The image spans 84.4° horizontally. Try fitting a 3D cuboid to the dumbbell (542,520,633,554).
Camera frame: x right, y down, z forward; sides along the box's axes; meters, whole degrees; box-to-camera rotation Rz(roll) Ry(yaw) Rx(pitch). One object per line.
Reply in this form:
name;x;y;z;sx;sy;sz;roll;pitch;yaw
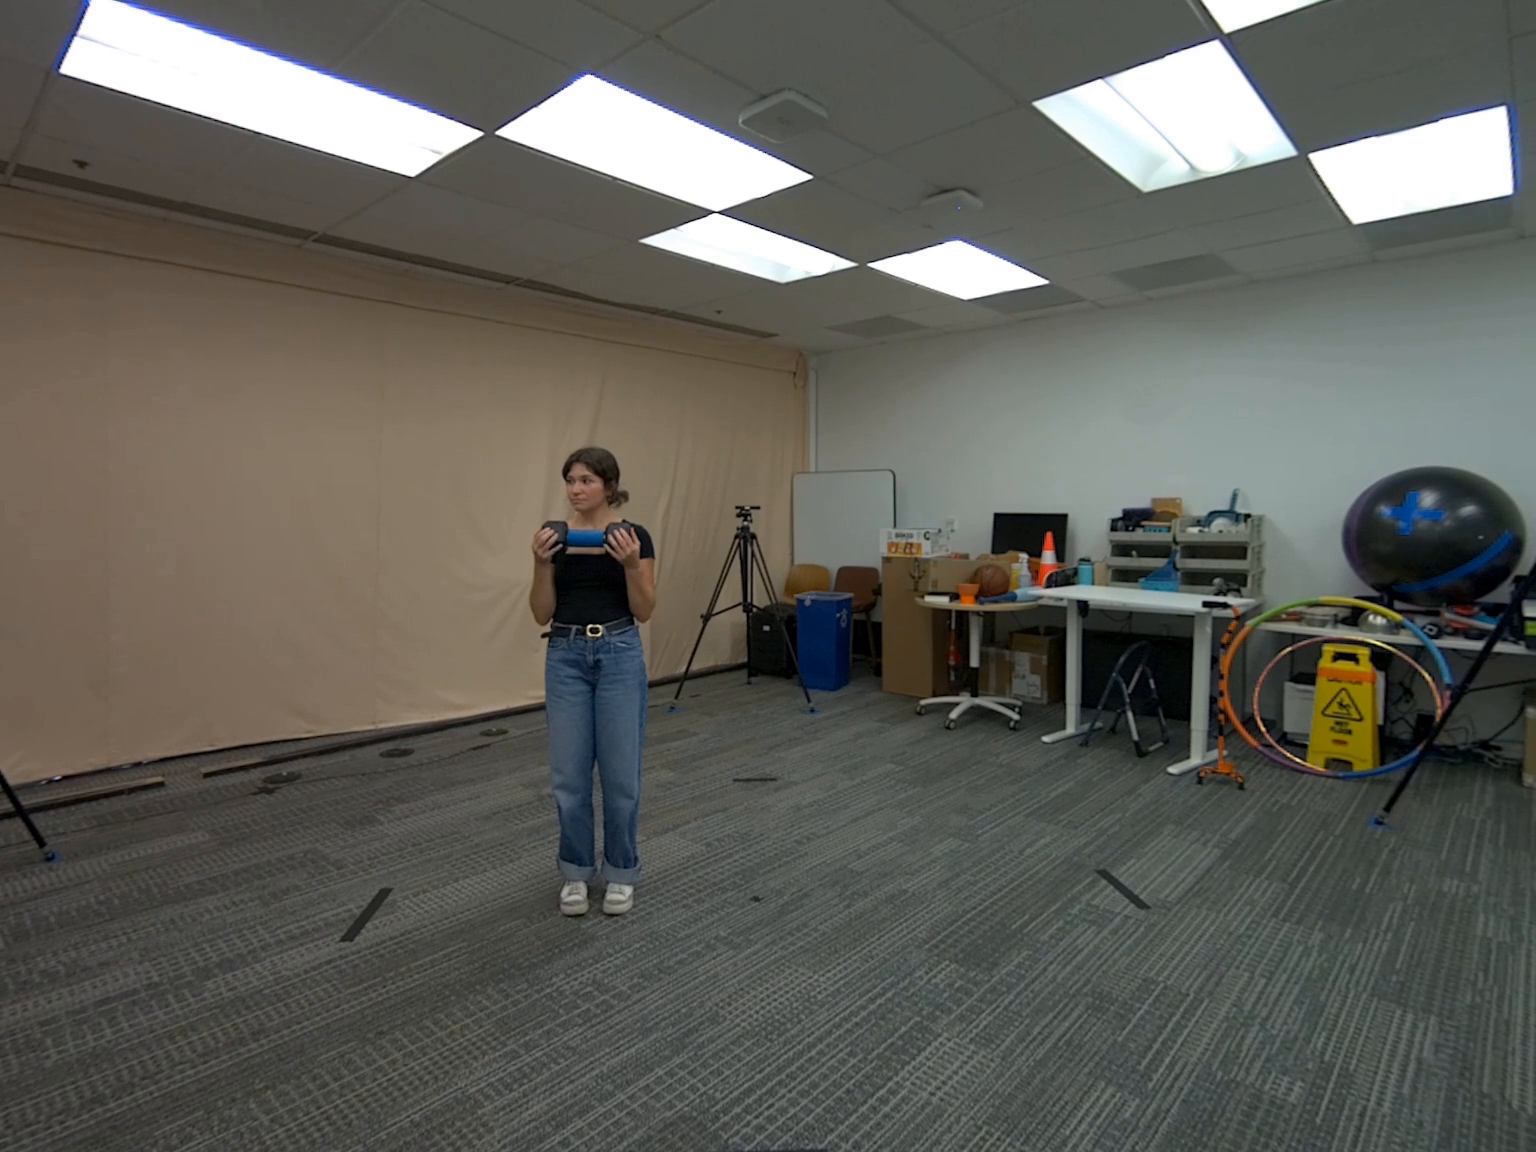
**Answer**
dumbbell;-0.625;-0.116;2.825;0.293;0.124;0.107;-1;-21;-3
